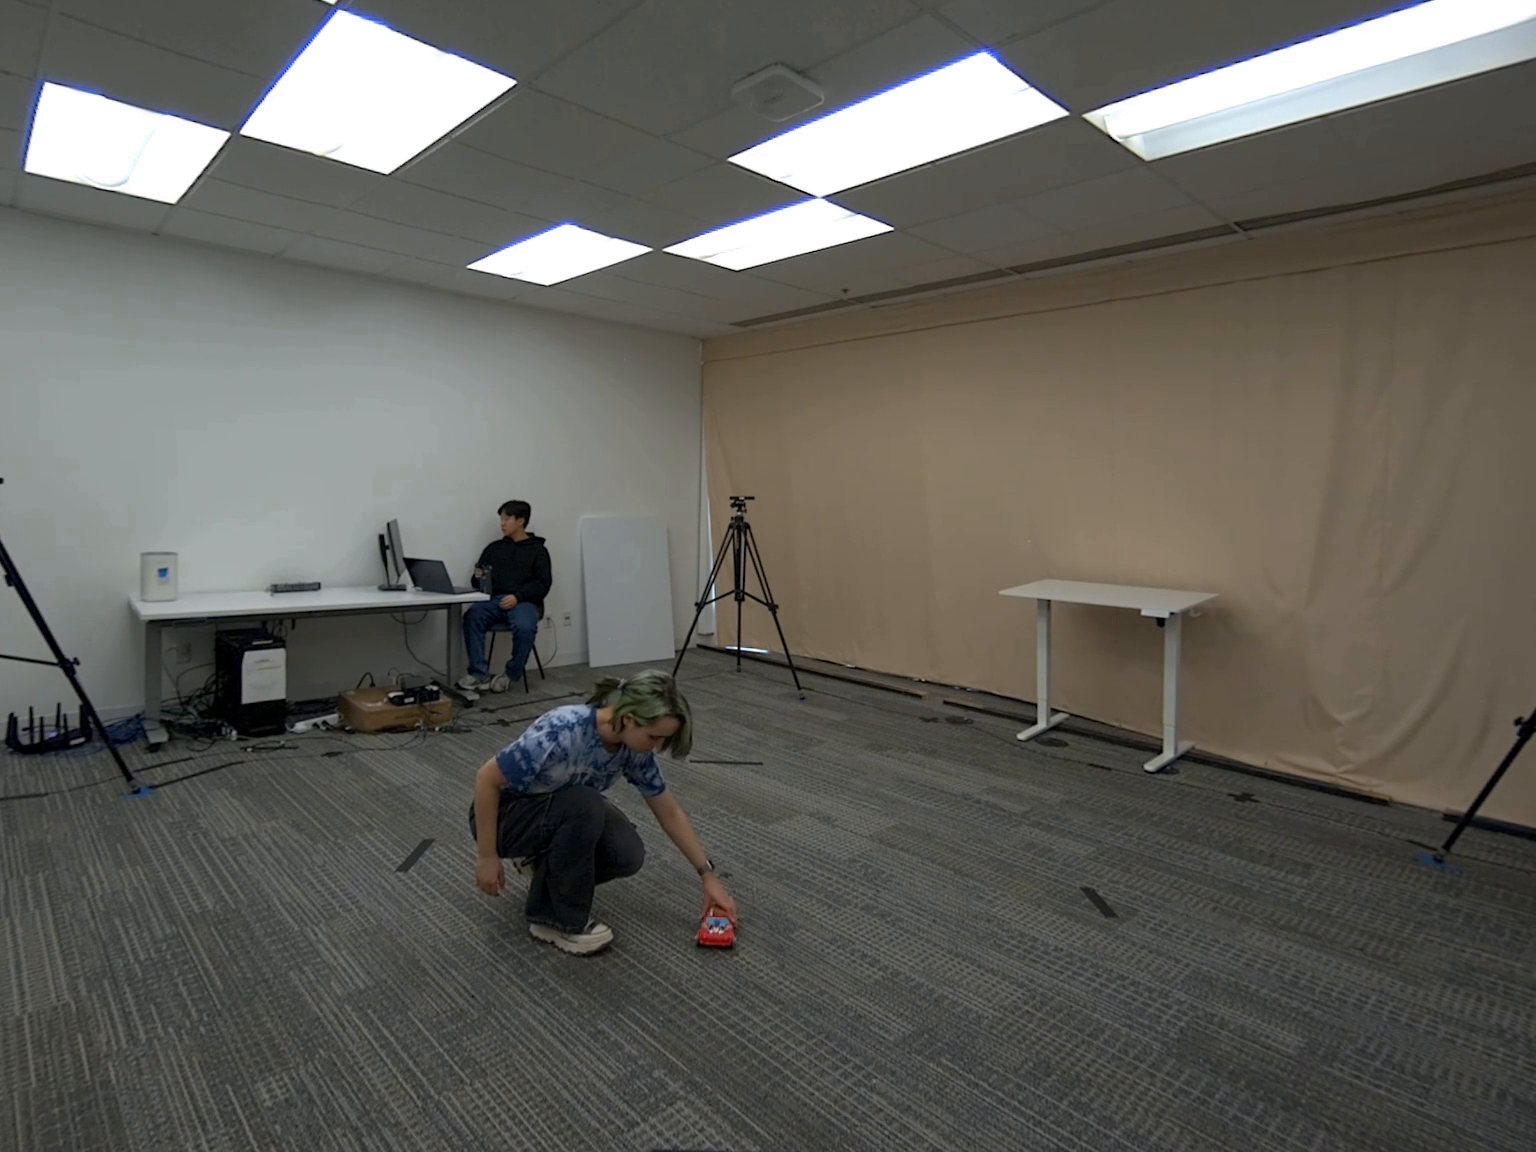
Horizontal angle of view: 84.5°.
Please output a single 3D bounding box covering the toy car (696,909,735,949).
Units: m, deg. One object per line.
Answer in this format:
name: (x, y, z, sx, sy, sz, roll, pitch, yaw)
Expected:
toy car: (-0.171, 1.114, 2.688, 0.130, 0.082, 0.256, 1, 15, 2)
